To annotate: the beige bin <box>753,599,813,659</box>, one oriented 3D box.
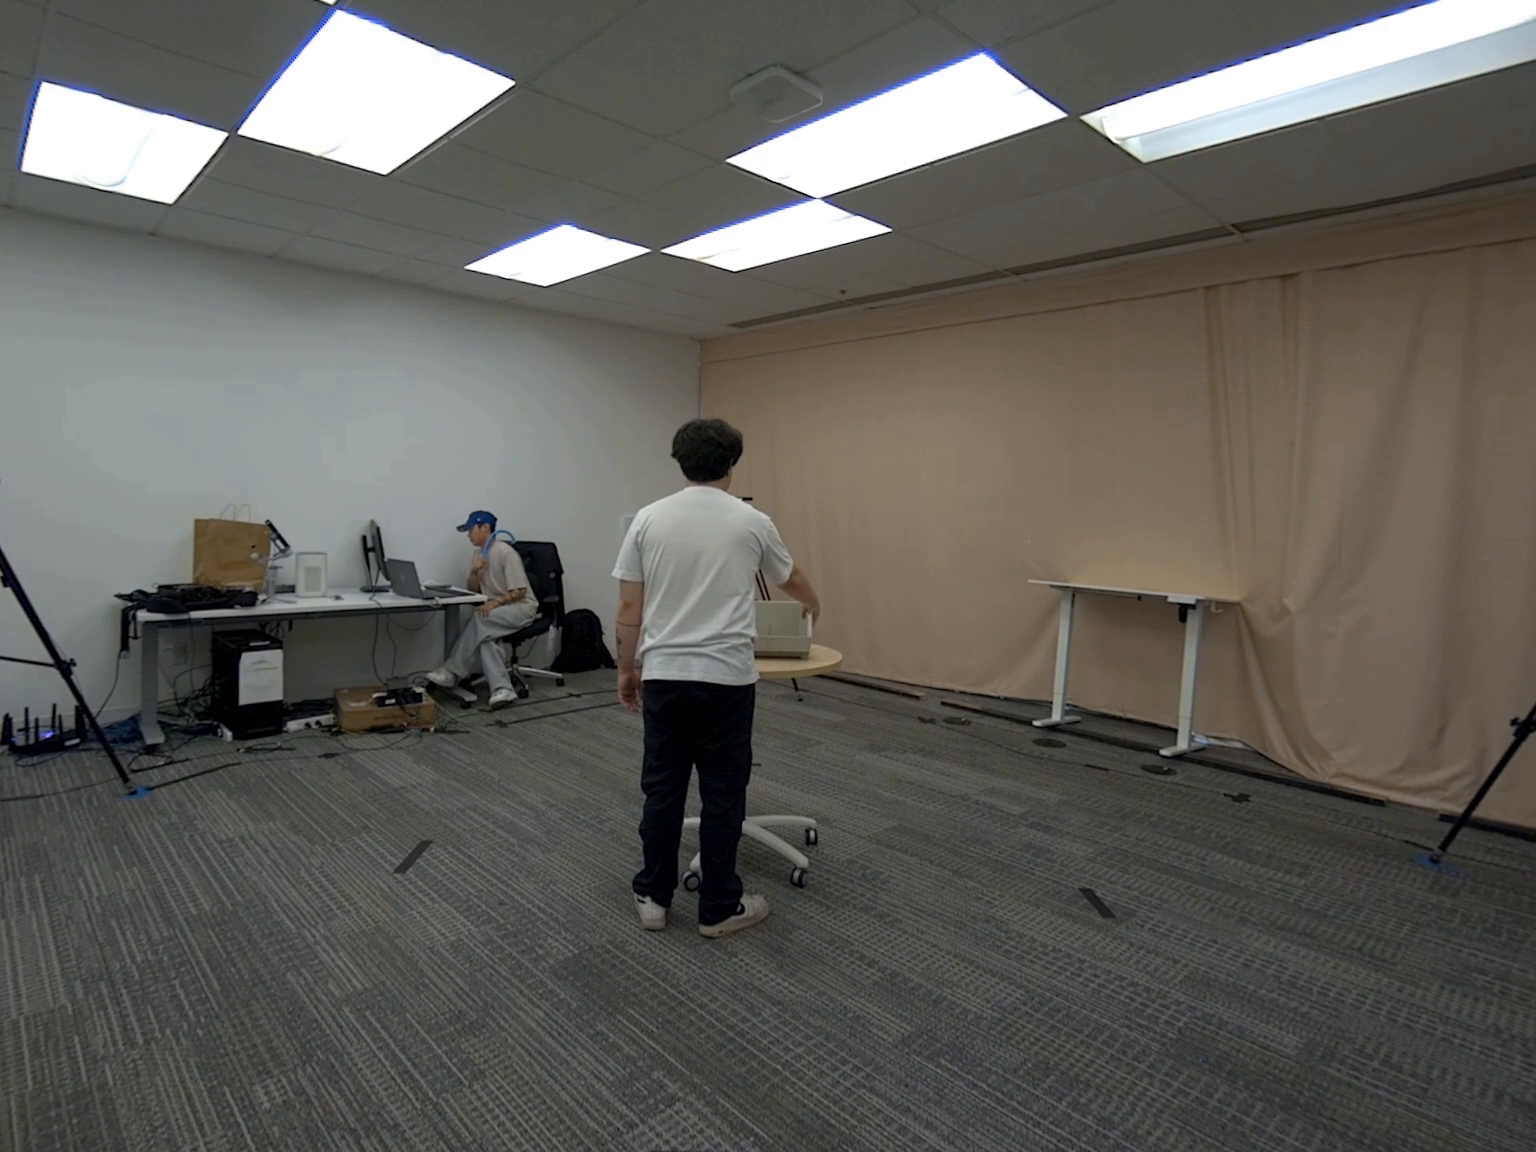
[{"bbox_3d":[-0.055,0.215,3.270,0.422,0.188,0.378,0,4,0],"label":"beige bin"}]
